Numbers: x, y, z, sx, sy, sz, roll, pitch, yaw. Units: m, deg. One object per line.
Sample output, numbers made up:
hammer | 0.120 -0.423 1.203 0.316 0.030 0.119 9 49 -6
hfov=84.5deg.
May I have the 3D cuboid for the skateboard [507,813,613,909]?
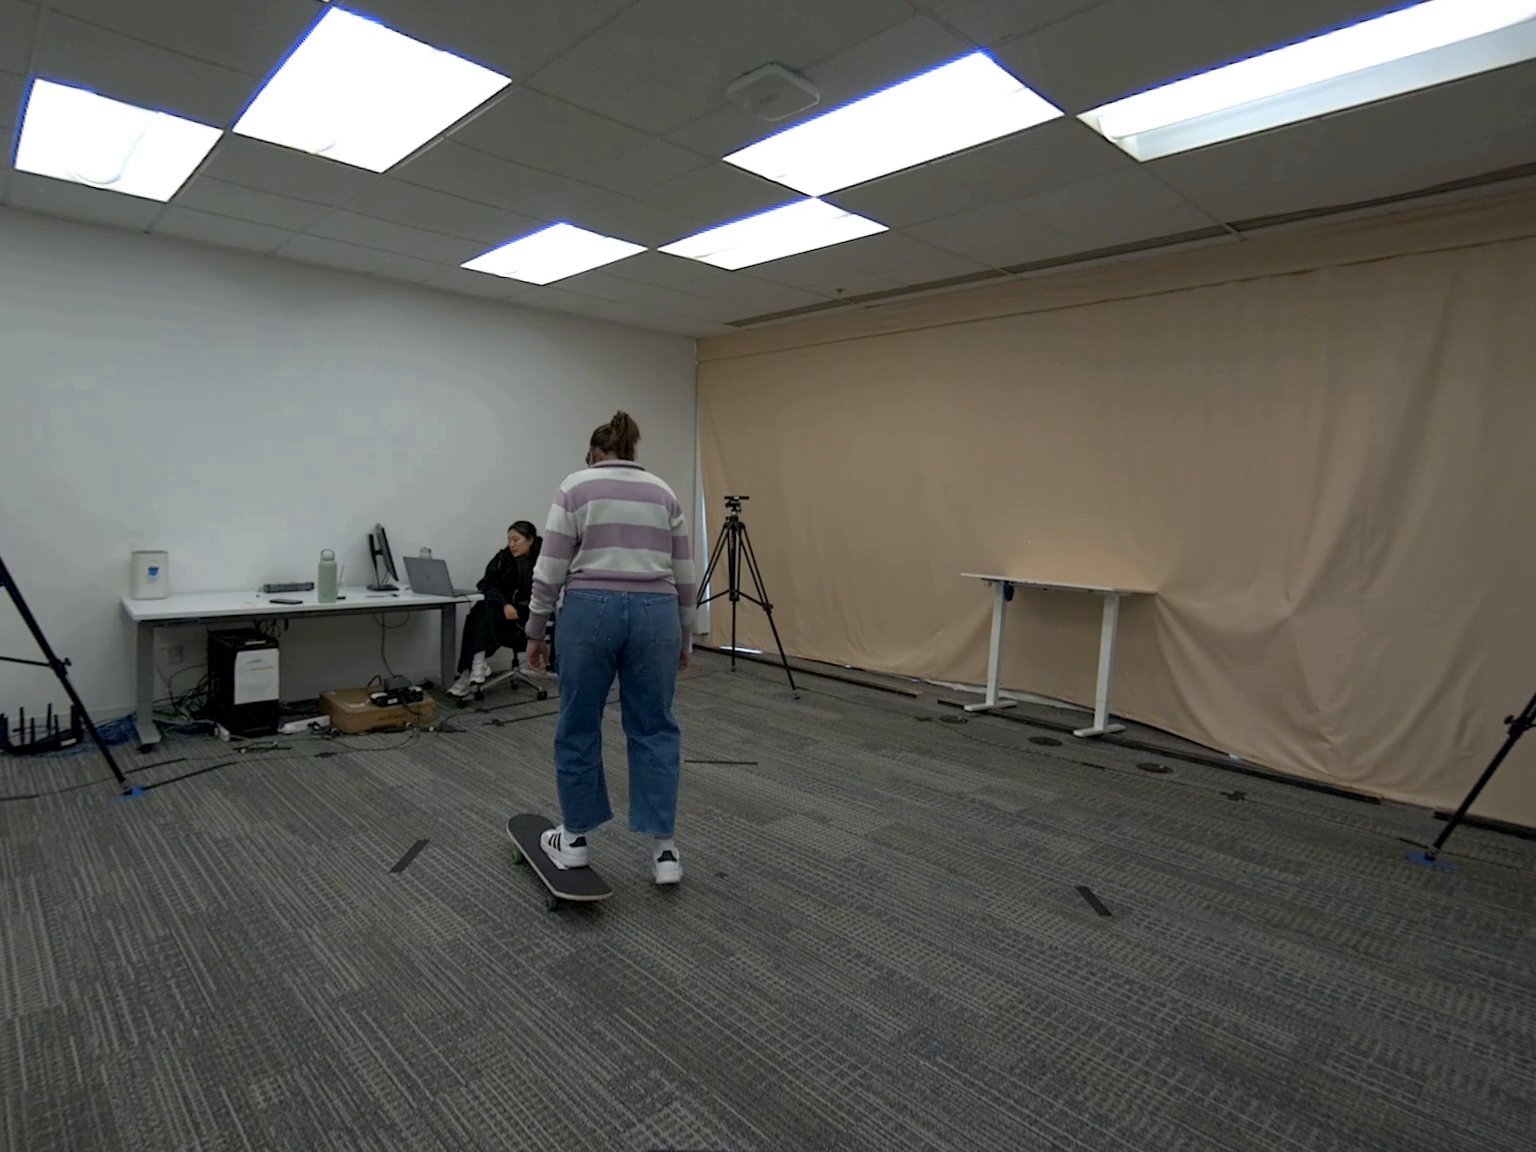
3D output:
skateboard | -0.771 1.039 3.032 0.189 0.110 0.804 6 2 -32
